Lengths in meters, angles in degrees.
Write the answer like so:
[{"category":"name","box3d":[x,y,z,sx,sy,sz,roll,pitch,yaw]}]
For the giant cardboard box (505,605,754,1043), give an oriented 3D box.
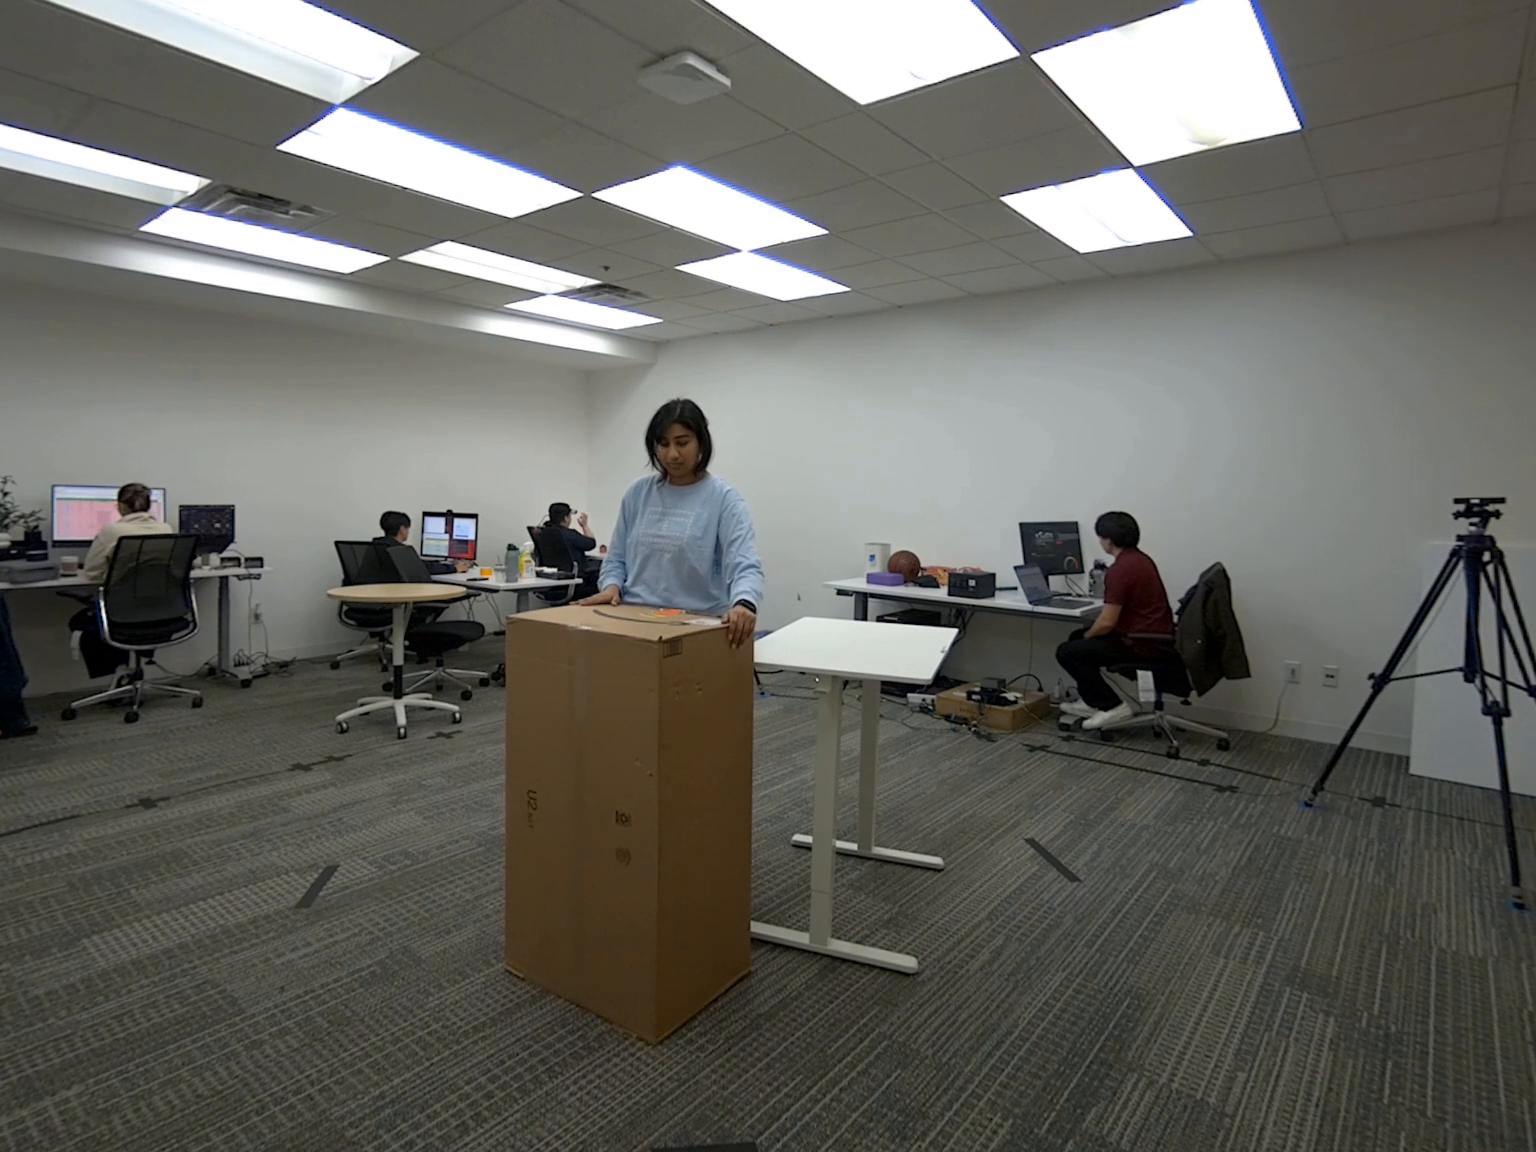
[{"category":"giant cardboard box","box3d":[-0.405,0.632,2.418,0.596,1.022,0.414,3,4,33]}]
